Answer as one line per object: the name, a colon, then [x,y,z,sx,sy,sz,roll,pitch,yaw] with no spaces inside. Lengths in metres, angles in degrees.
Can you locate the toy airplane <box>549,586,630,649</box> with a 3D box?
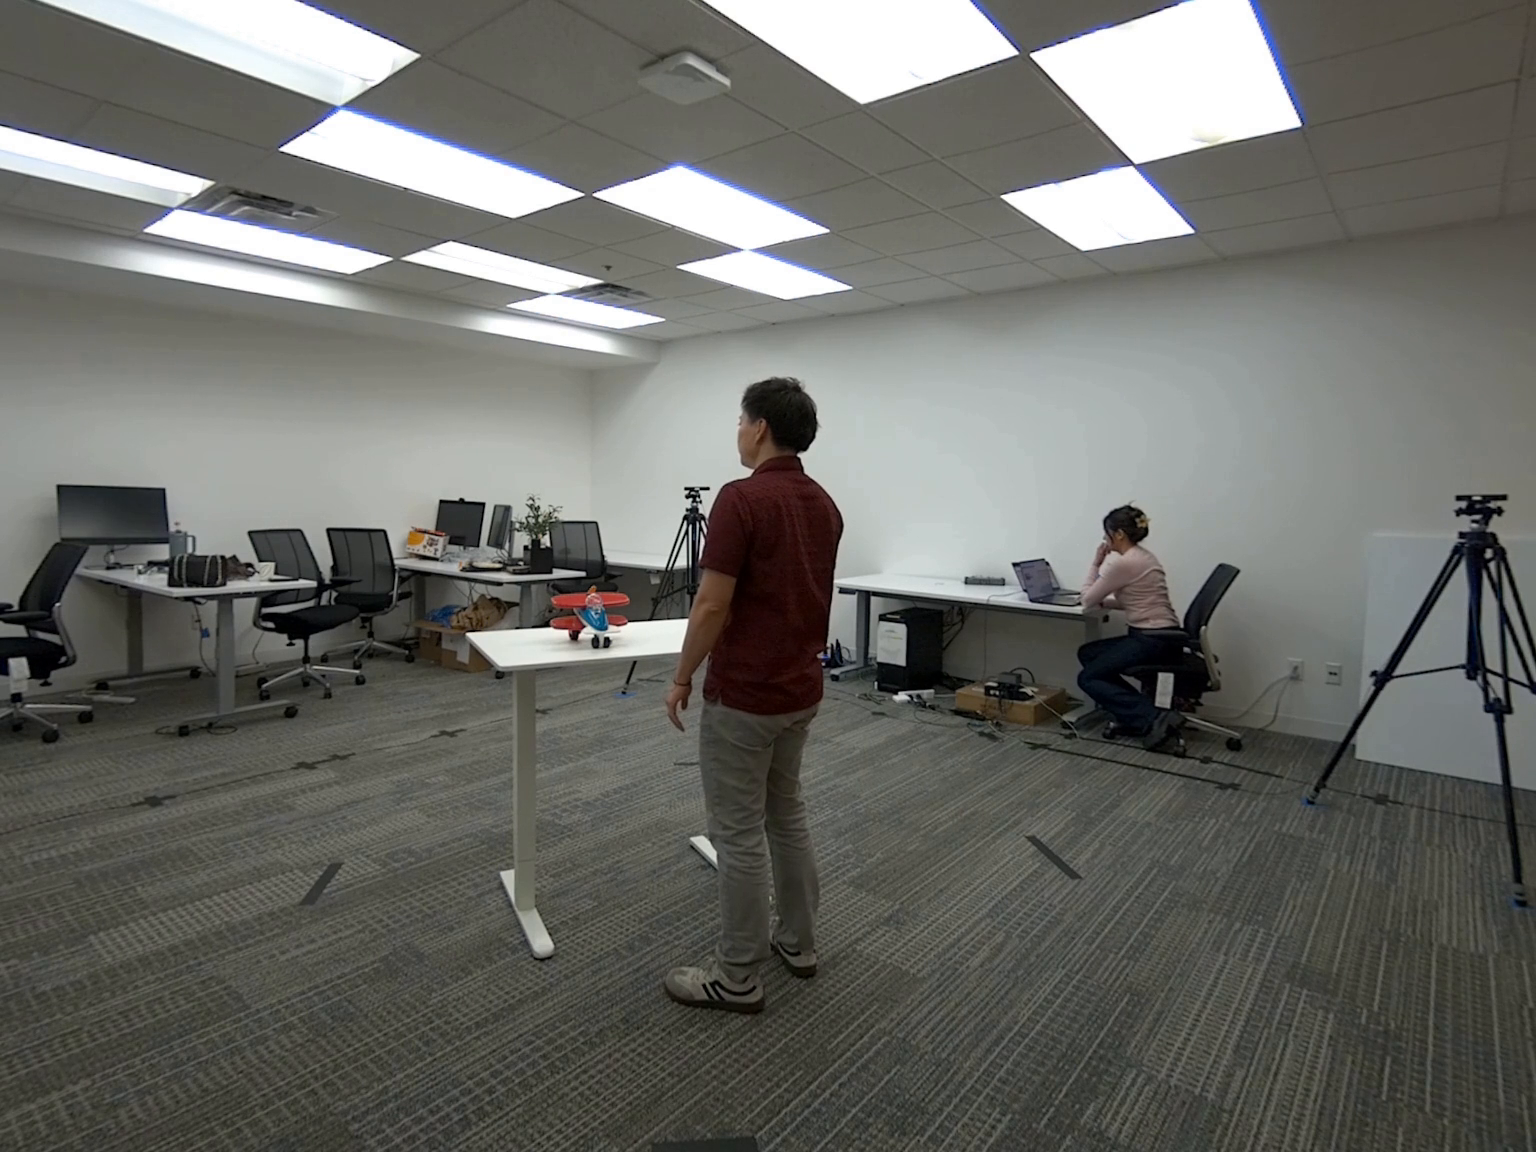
toy airplane: [-0.565,0.137,2.765,0.268,0.156,0.244,4,6,38]
